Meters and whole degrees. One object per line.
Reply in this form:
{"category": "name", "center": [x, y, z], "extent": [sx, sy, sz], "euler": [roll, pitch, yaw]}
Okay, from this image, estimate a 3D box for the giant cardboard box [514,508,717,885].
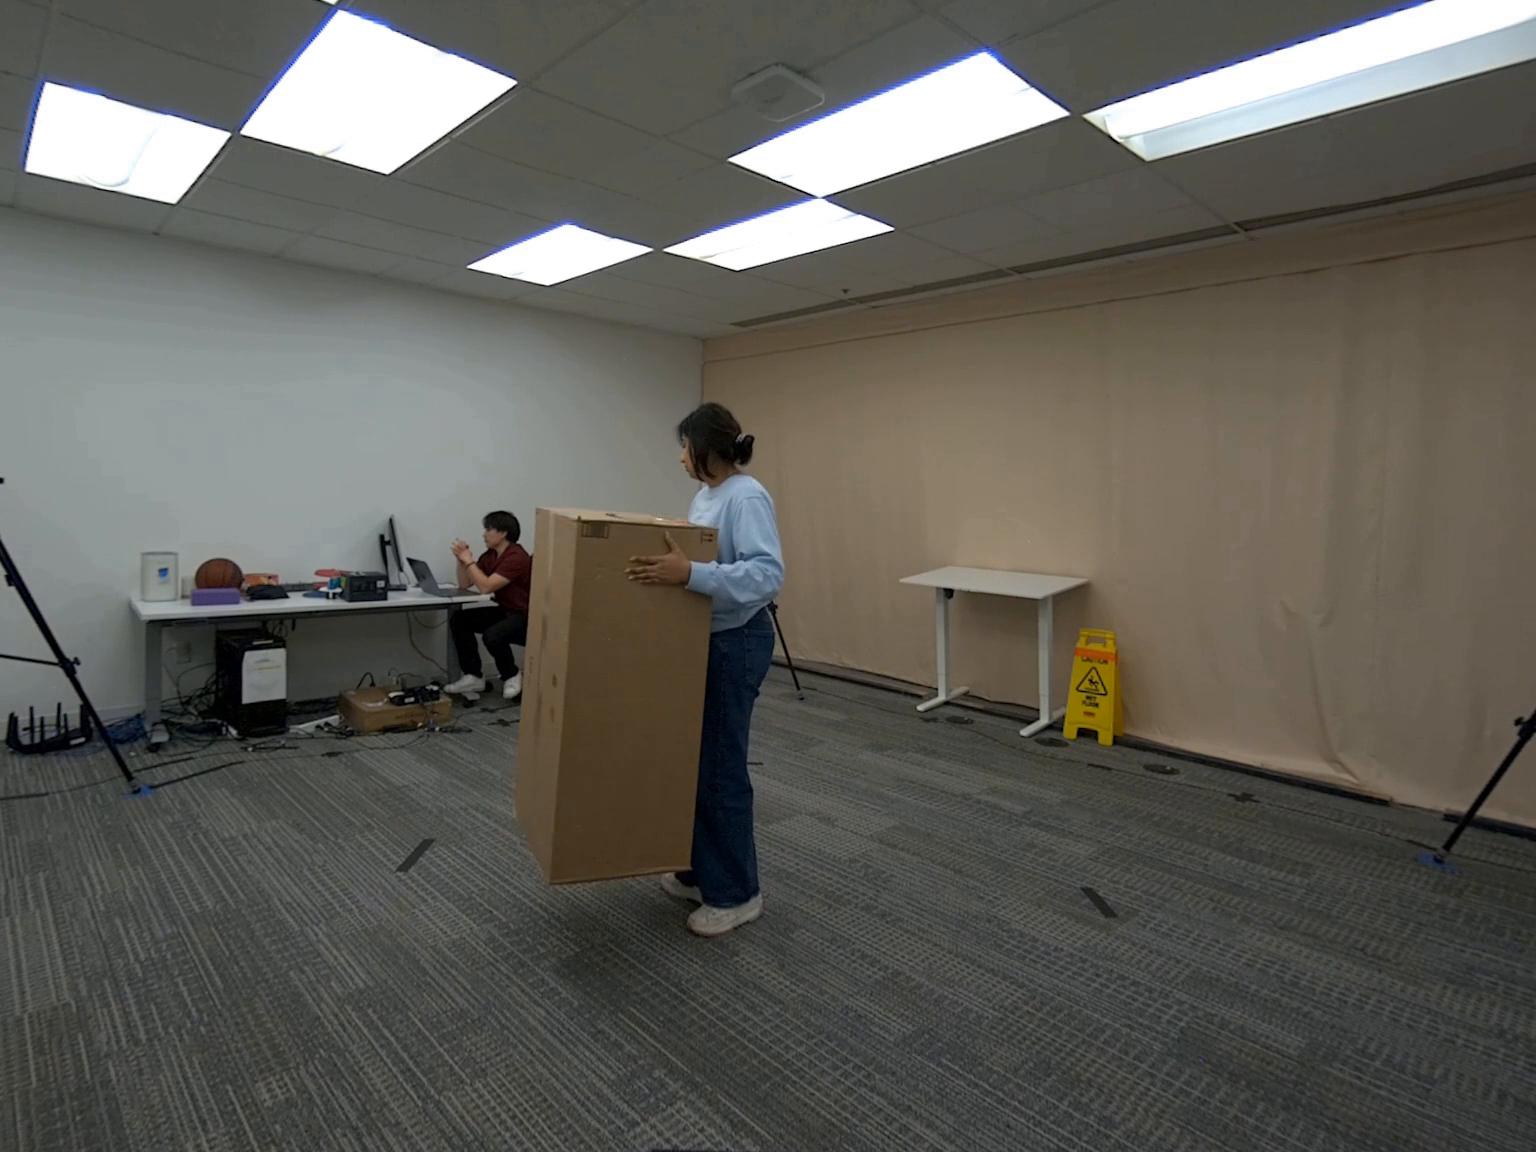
{"category": "giant cardboard box", "center": [-0.504, 0.327, 2.632], "extent": [0.438, 1.025, 0.596], "euler": [4, 4, -25]}
